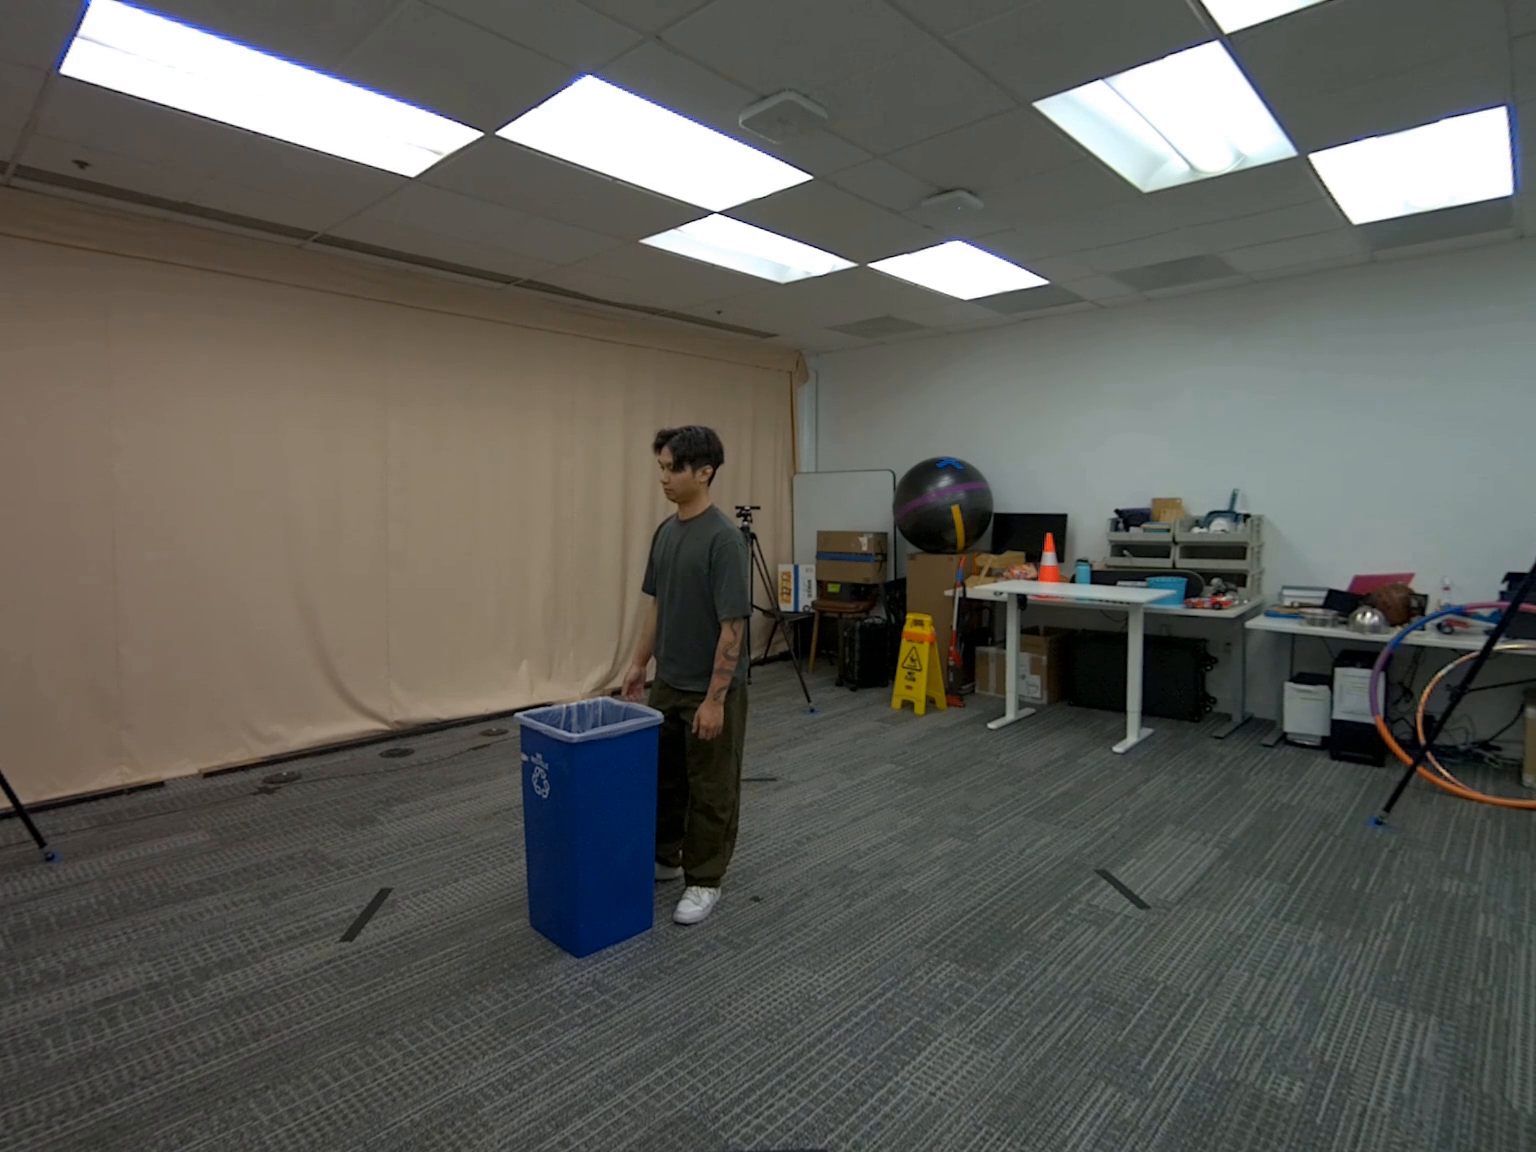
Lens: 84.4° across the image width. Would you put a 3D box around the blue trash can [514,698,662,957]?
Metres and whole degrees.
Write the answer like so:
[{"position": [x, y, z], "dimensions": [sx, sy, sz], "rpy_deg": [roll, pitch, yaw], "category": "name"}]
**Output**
[{"position": [-0.584, 0.807, 2.775], "dimensions": [0.366, 0.712, 0.386], "rpy_deg": [-4, 4, -44], "category": "blue trash can"}]
